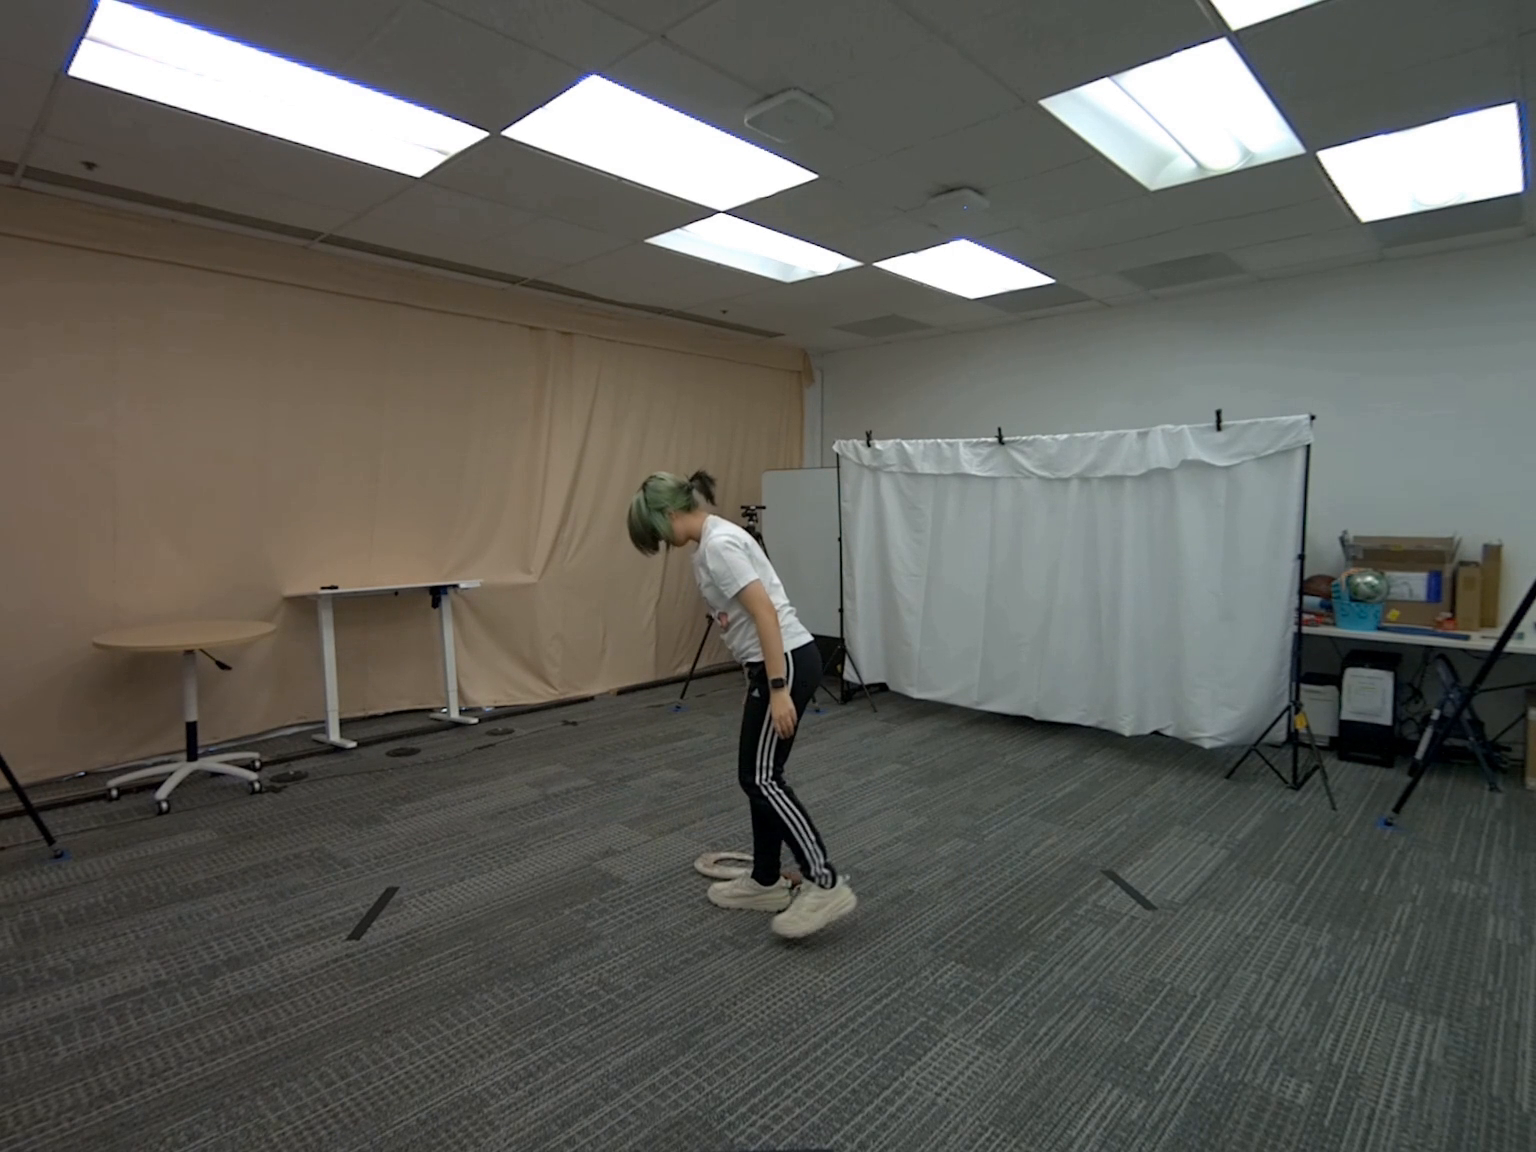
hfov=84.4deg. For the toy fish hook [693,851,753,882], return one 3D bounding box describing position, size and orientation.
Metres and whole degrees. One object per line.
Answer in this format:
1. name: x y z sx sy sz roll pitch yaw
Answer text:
1. toy fish hook: -0.027 1.102 3.178 0.518 0.048 0.220 2 6 21
